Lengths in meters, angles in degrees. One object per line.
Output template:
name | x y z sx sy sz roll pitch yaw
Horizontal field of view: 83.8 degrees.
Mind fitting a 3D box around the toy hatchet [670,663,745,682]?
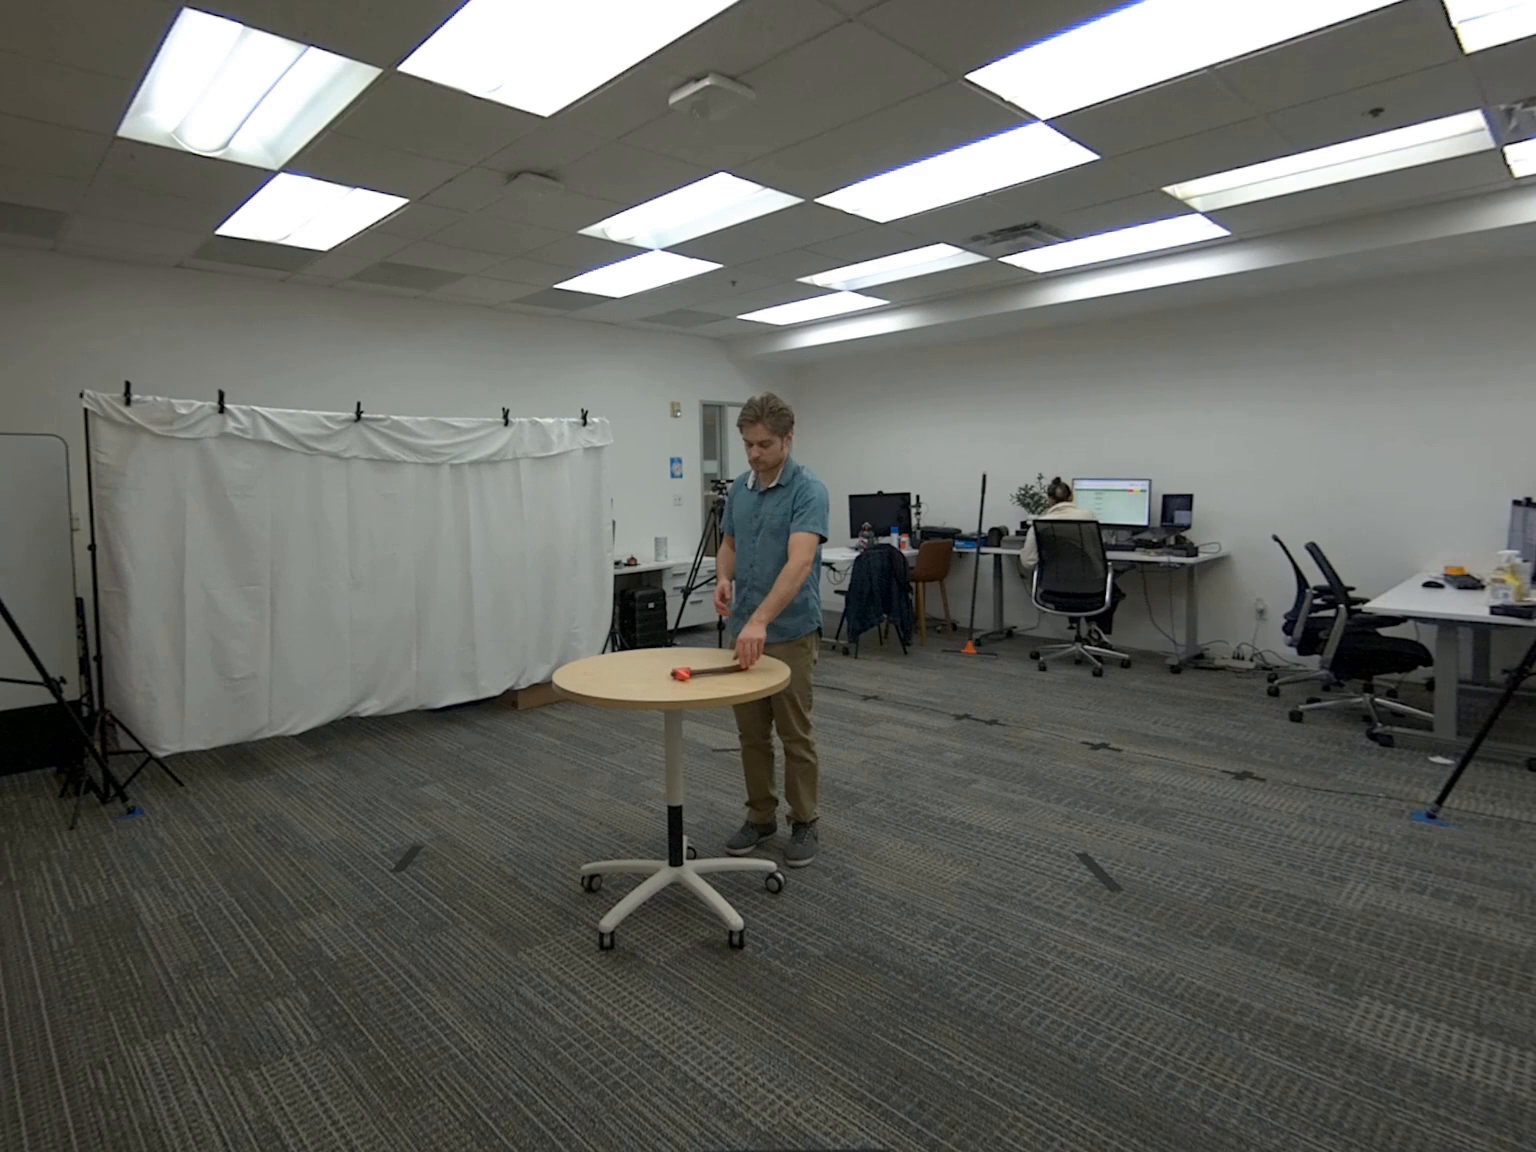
toy hatchet | -0.195 0.303 2.722 0.262 0.029 0.135 -3 2 -43
